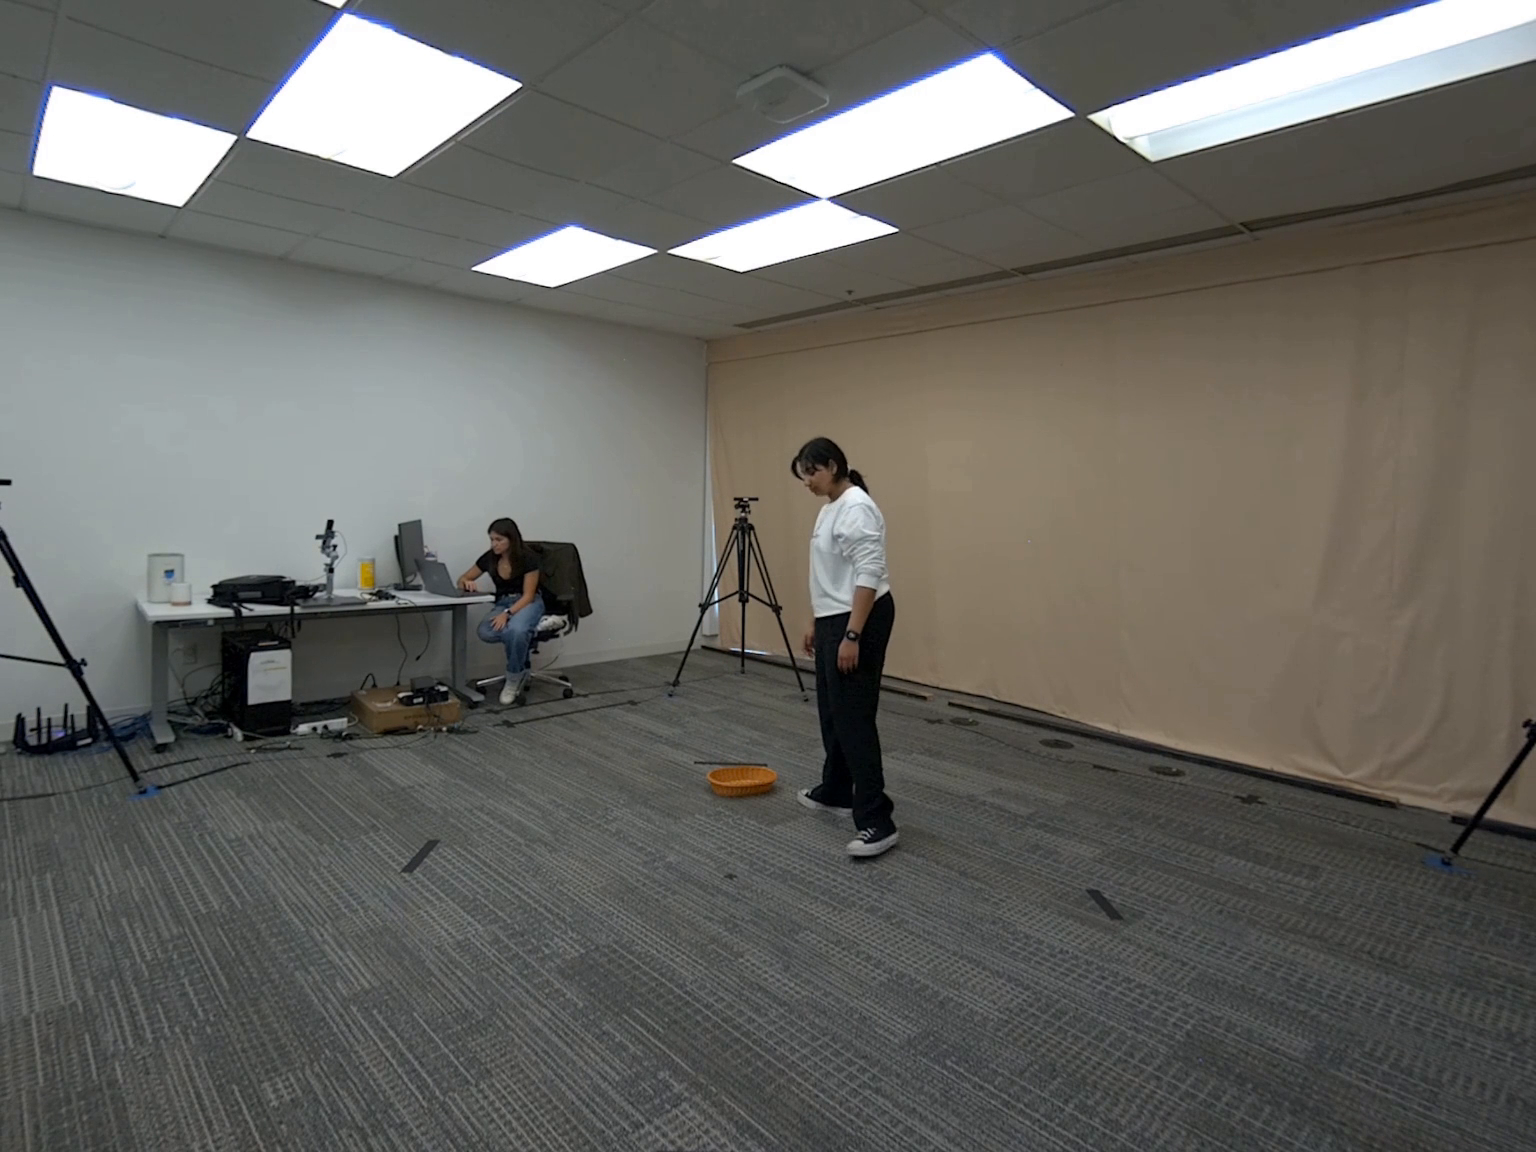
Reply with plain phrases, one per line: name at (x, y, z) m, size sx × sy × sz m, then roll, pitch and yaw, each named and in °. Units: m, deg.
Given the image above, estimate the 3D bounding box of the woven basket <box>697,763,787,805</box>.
woven basket at (-0.128, 0.990, 4.050) m, size 0.344 × 0.073 × 0.258 m, roll -1°, pitch 7°, yaw -25°
